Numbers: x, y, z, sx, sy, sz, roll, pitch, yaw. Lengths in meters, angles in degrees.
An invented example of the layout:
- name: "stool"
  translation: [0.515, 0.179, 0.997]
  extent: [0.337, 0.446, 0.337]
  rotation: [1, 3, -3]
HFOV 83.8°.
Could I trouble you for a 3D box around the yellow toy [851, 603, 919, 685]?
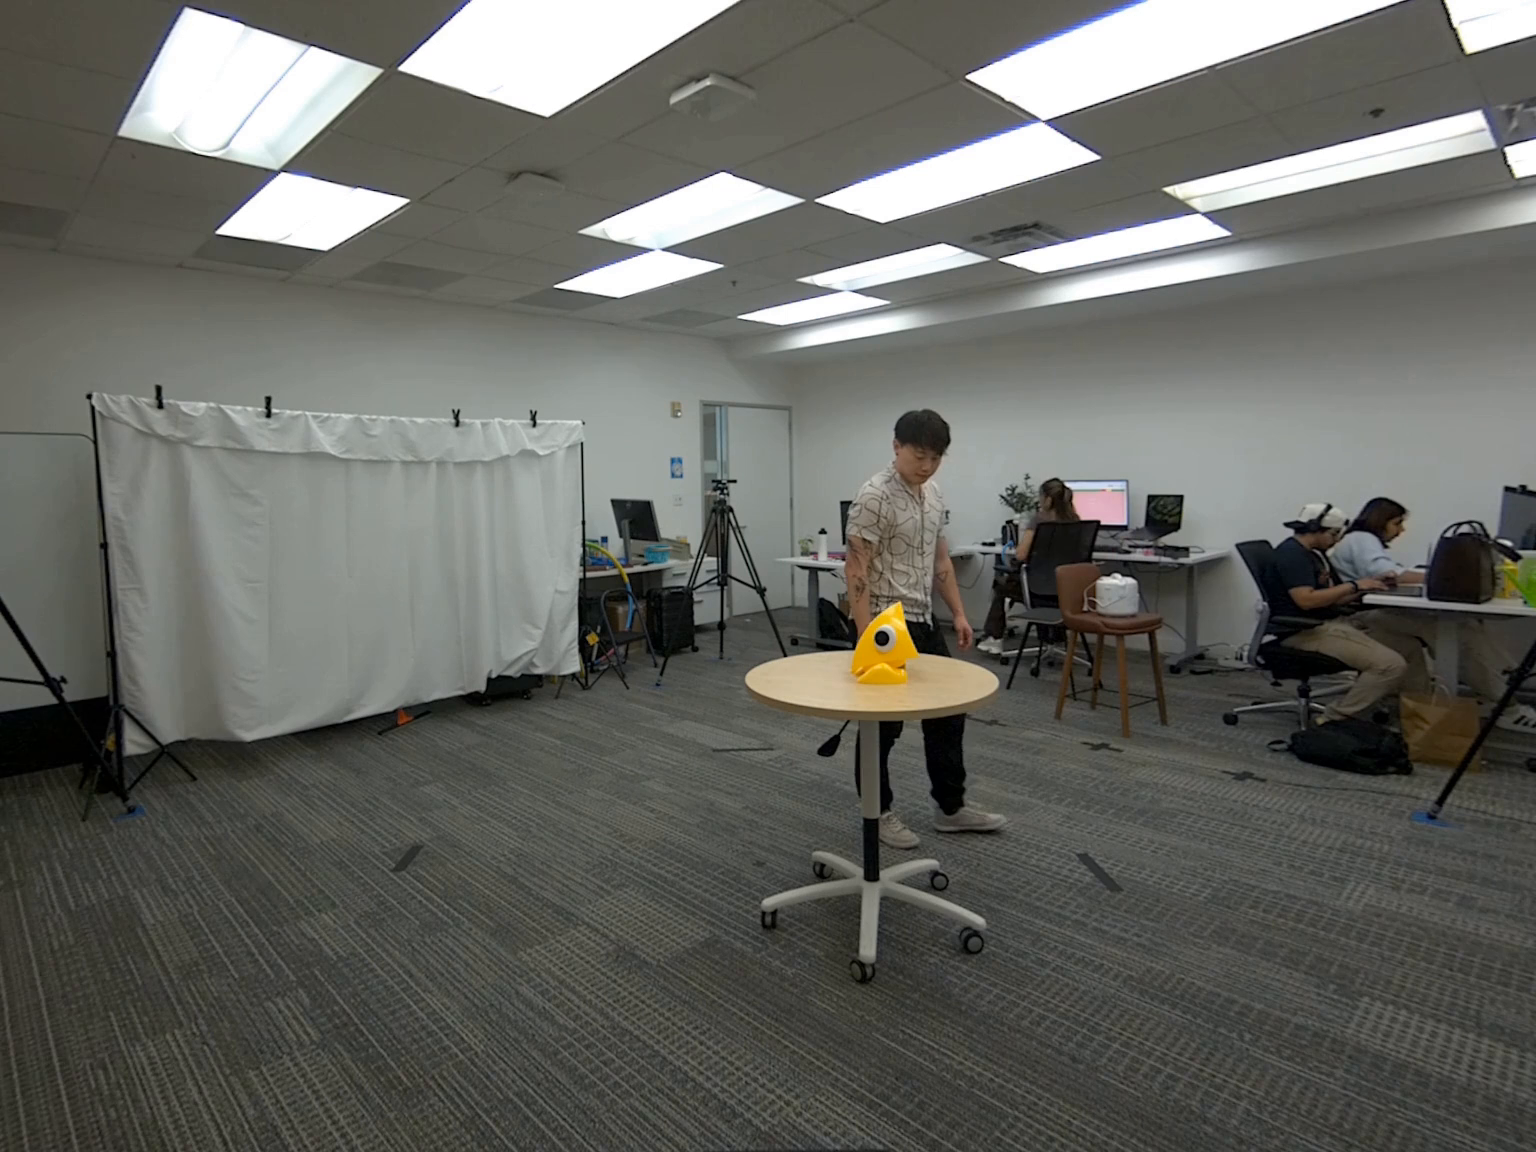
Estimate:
- name: "yellow toy"
  translation: [0.356, 0.199, 2.622]
  extent: [0.193, 0.229, 0.206]
  rotation: [-2, 6, -2]
